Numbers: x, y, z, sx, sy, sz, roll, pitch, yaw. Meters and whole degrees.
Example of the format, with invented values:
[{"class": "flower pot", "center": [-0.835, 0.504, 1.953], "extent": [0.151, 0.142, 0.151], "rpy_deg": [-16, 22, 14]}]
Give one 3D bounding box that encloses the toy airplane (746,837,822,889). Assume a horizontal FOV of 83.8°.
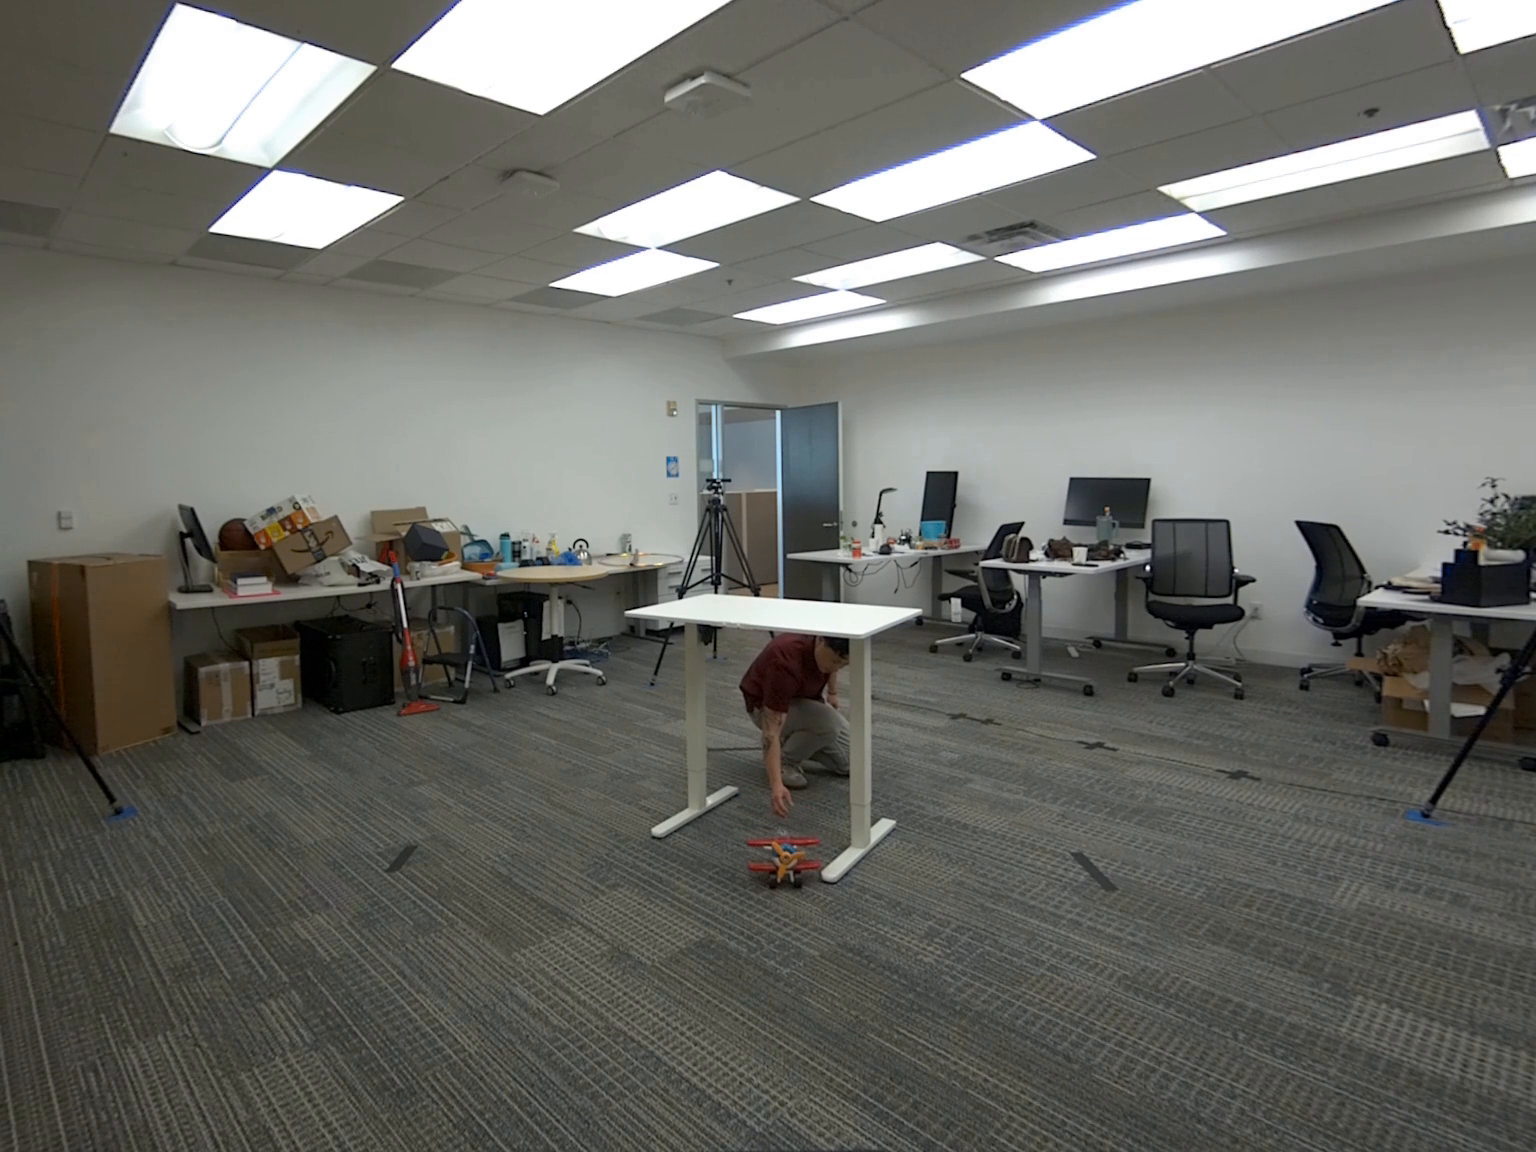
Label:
[{"class": "toy airplane", "center": [0.035, 0.982, 3.007], "extent": [0.245, 0.156, 0.266], "rpy_deg": [-4, 7, -29]}]
